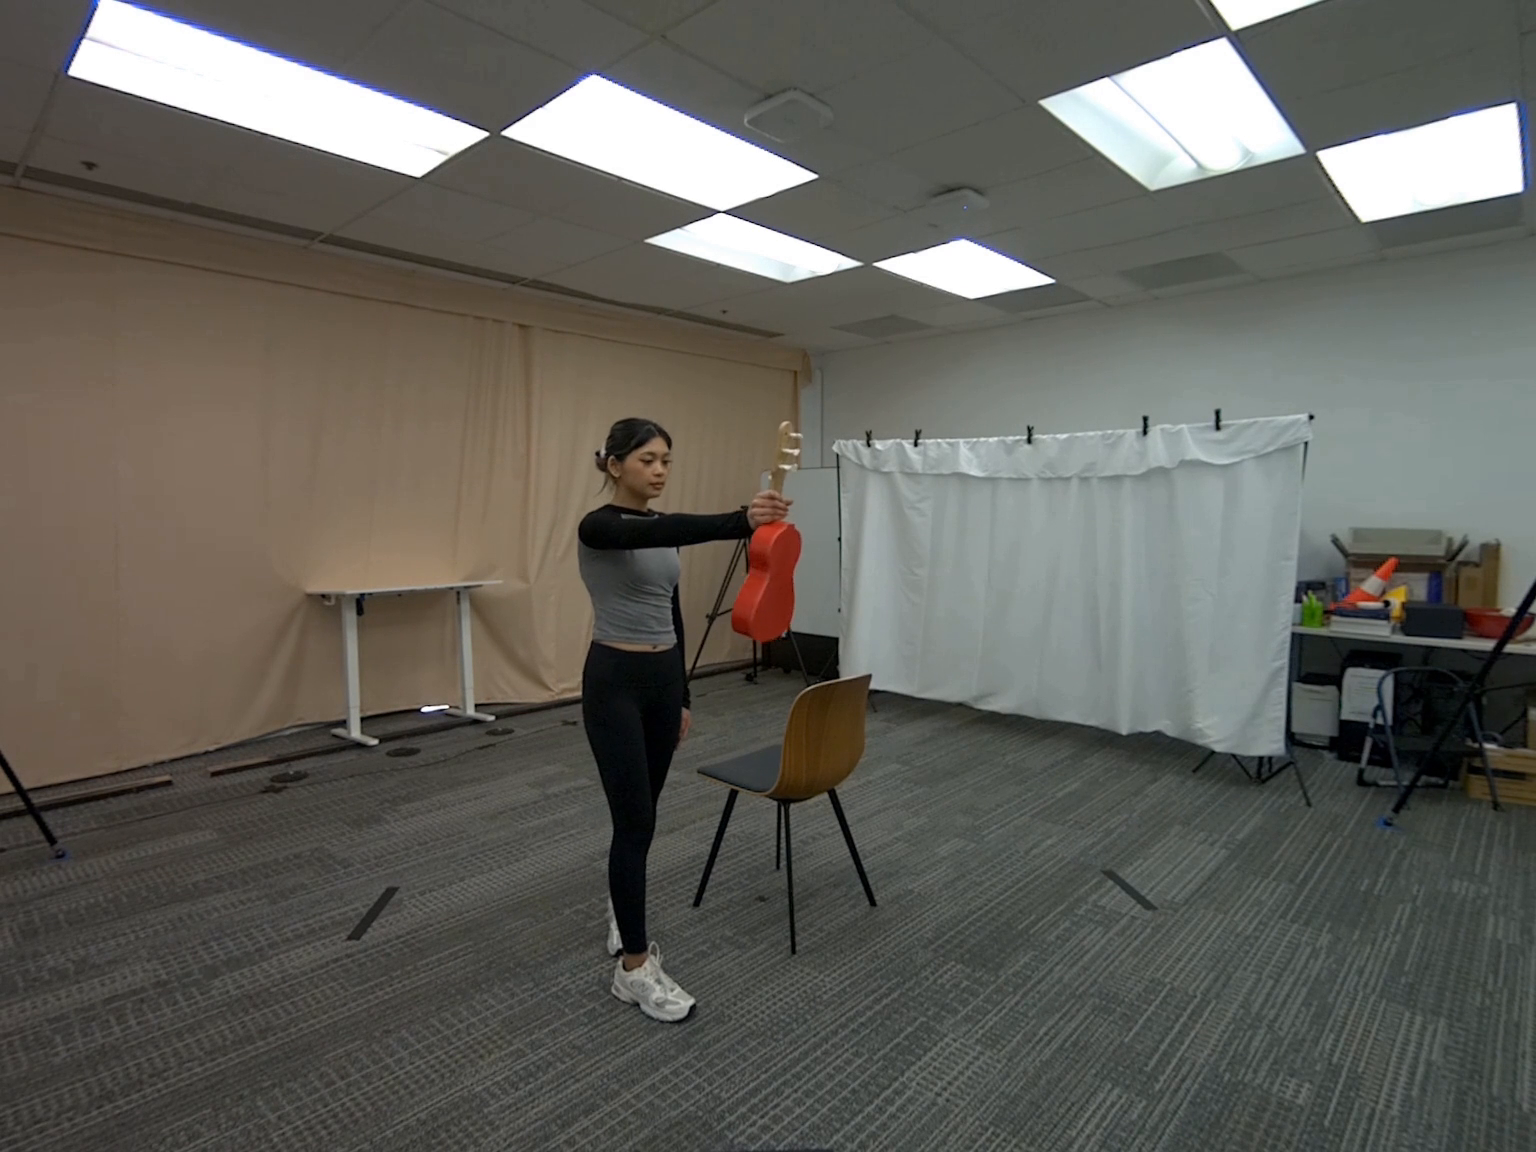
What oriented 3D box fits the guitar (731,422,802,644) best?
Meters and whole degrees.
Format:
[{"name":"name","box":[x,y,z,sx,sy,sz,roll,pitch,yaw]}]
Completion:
[{"name":"guitar","box":[0.011,-0.090,1.915,0.073,0.494,0.189,14,17,28]}]
